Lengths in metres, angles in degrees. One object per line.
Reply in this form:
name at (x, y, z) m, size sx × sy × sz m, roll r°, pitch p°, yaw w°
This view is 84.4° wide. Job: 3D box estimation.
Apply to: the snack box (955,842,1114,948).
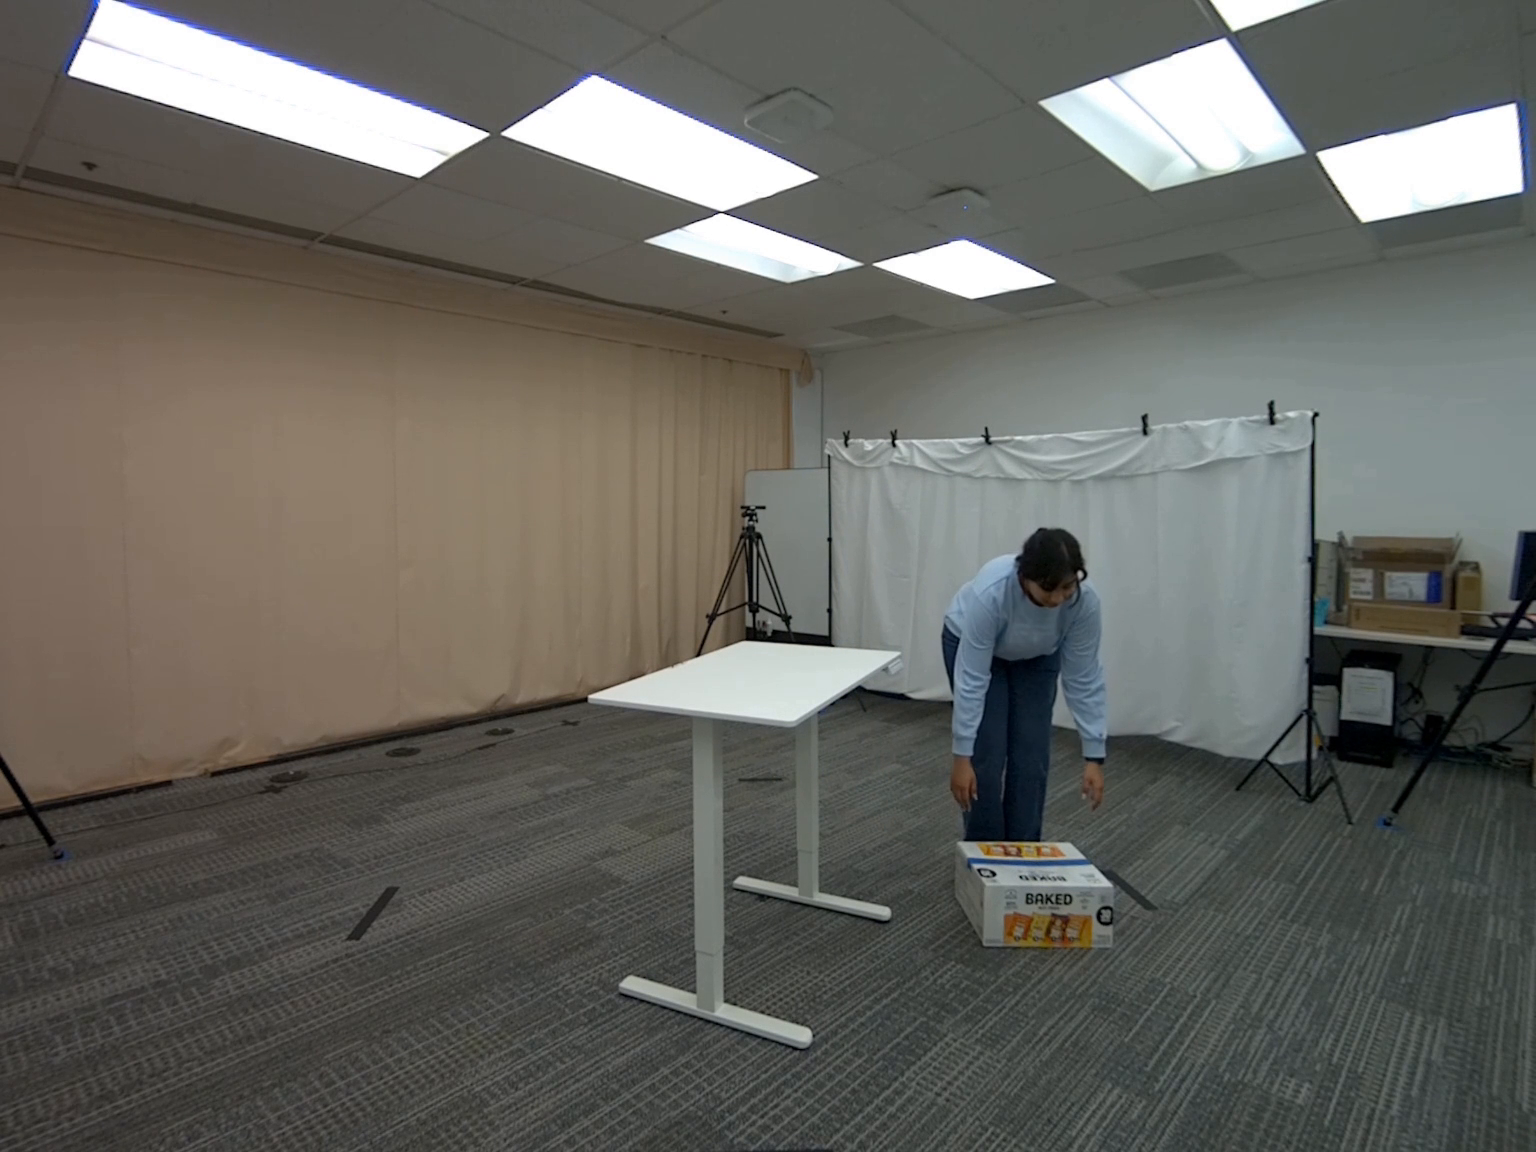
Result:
snack box at (0.869, 1.048, 2.807) m, size 0.405 × 0.205 × 0.341 m, roll 0°, pitch 4°, yaw -1°
